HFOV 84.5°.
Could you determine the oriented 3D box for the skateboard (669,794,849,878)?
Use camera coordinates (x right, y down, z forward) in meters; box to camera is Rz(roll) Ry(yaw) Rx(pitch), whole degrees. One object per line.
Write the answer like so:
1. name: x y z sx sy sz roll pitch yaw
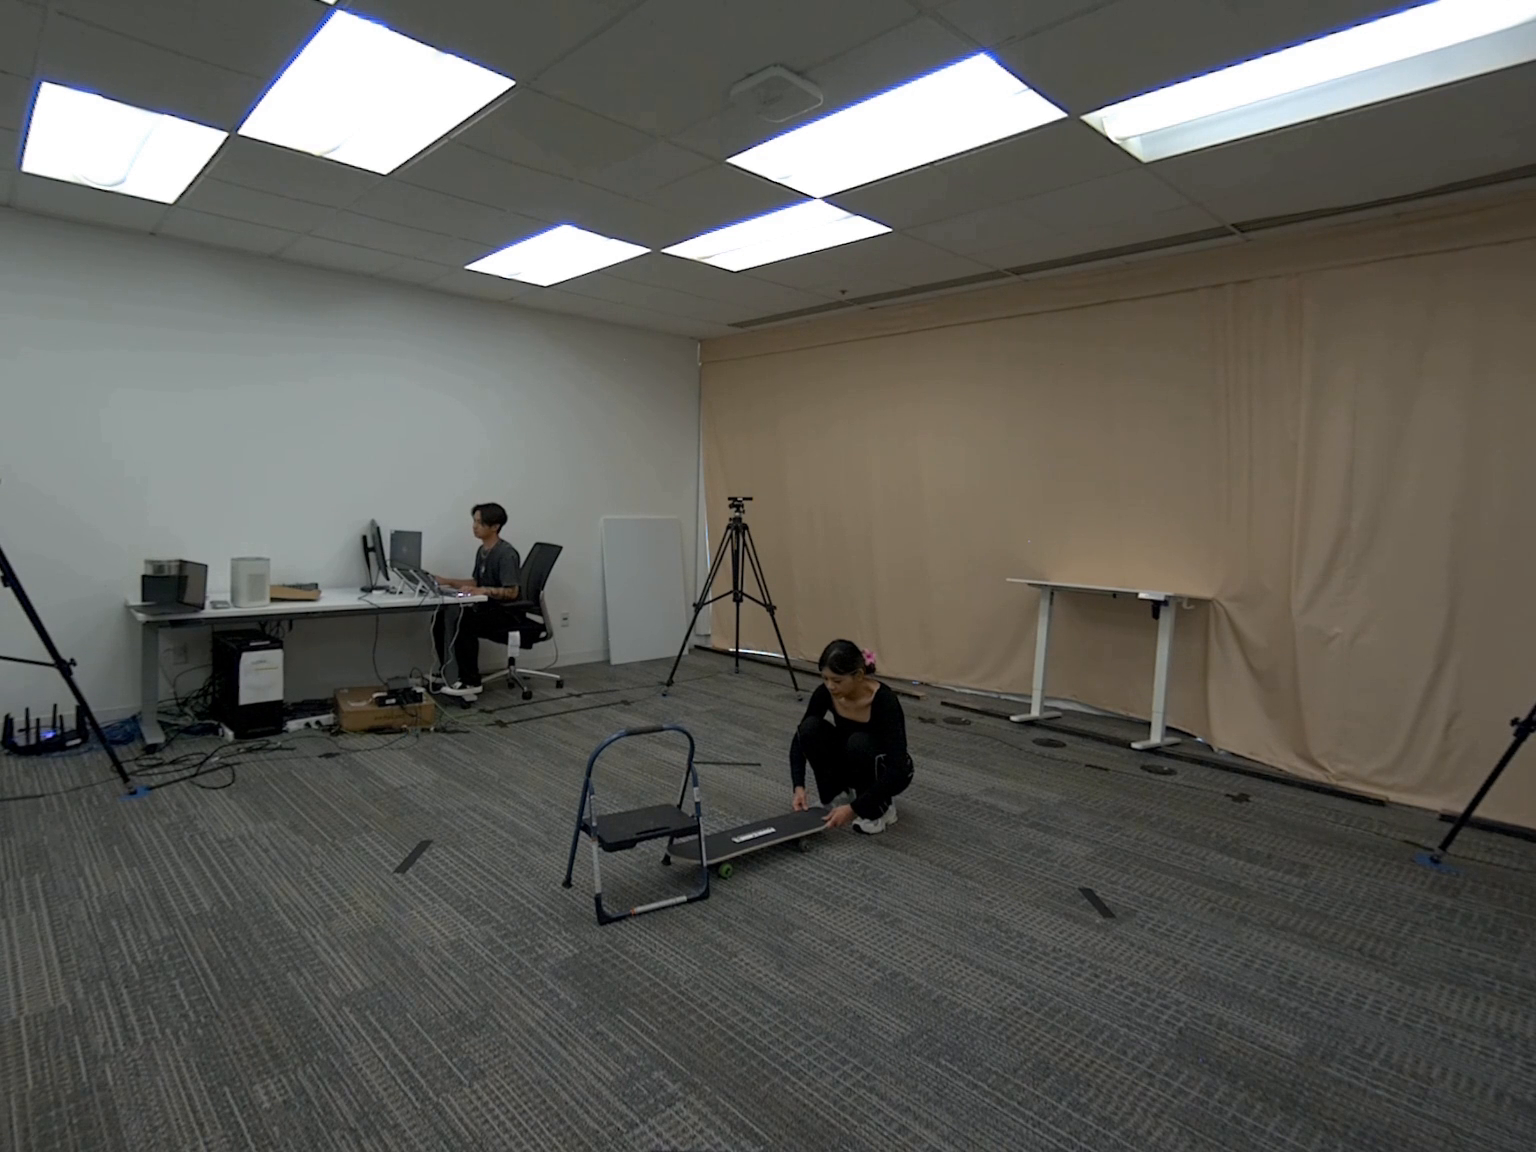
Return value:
1. skateboard: -0.063 1.037 3.269 0.768 0.110 0.198 -3 6 -40
